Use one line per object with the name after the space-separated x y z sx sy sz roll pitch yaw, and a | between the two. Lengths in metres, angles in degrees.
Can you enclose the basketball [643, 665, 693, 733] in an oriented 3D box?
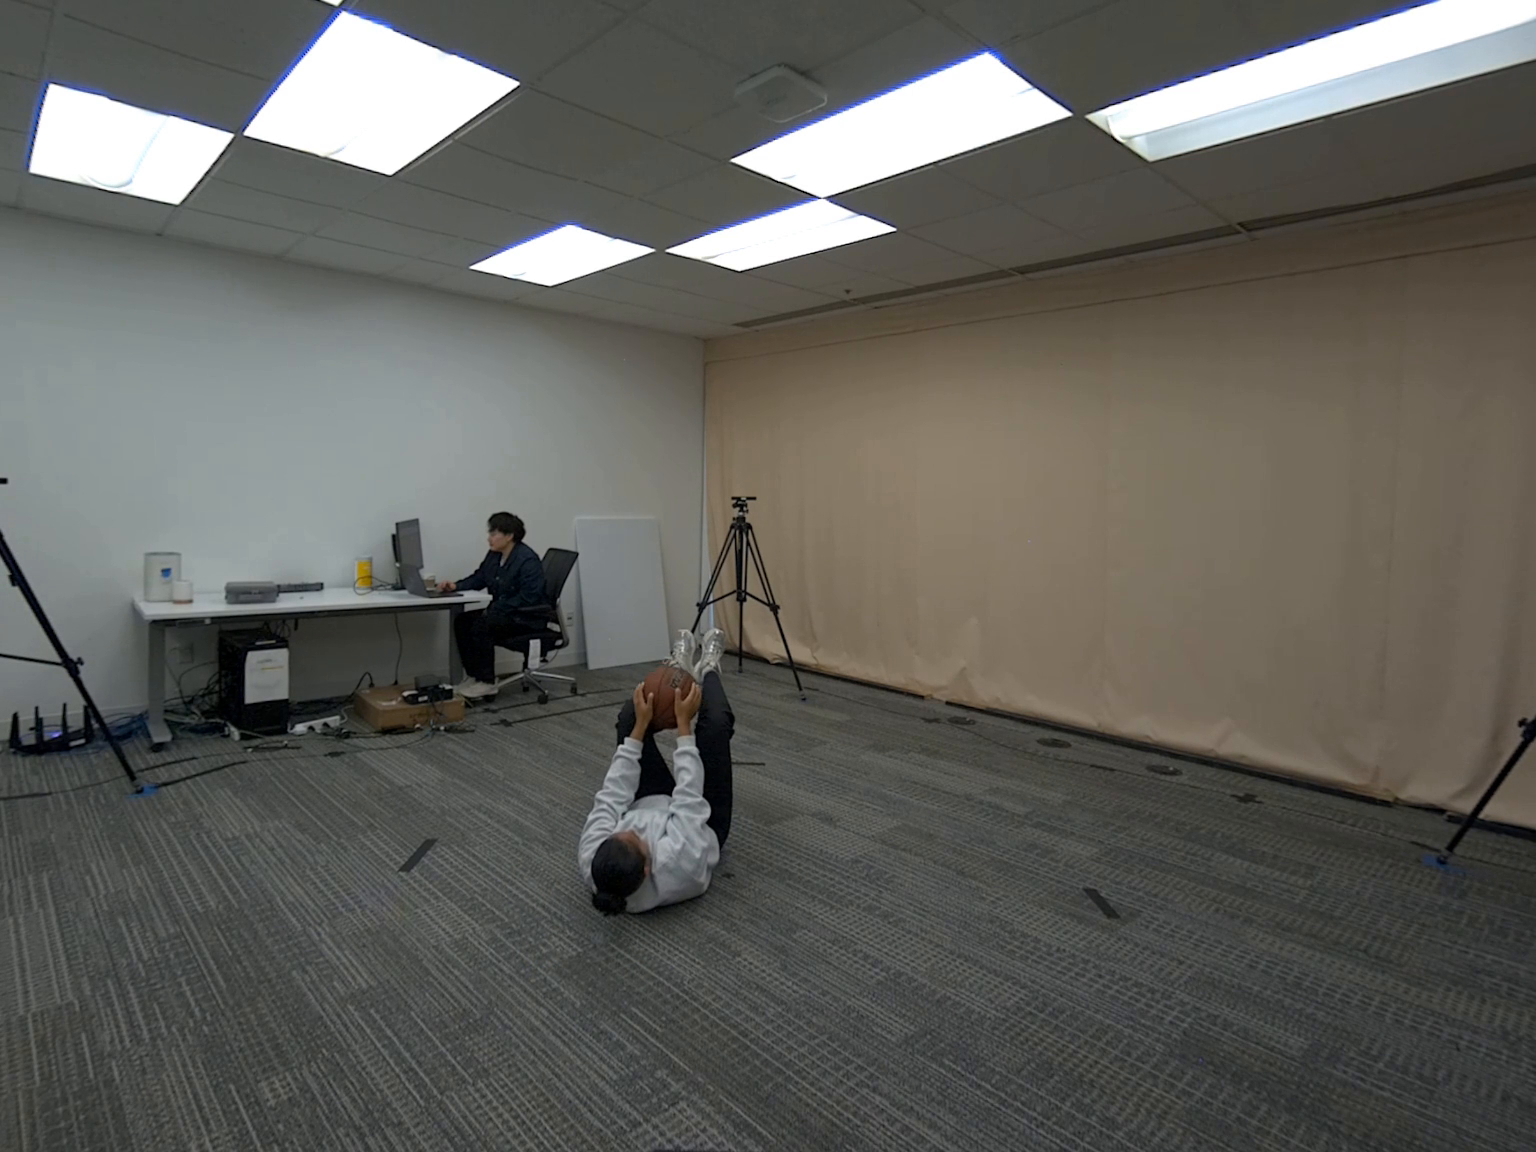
-0.391 0.468 3.223 0.236 0.235 0.237 1 5 -1 | basketball
